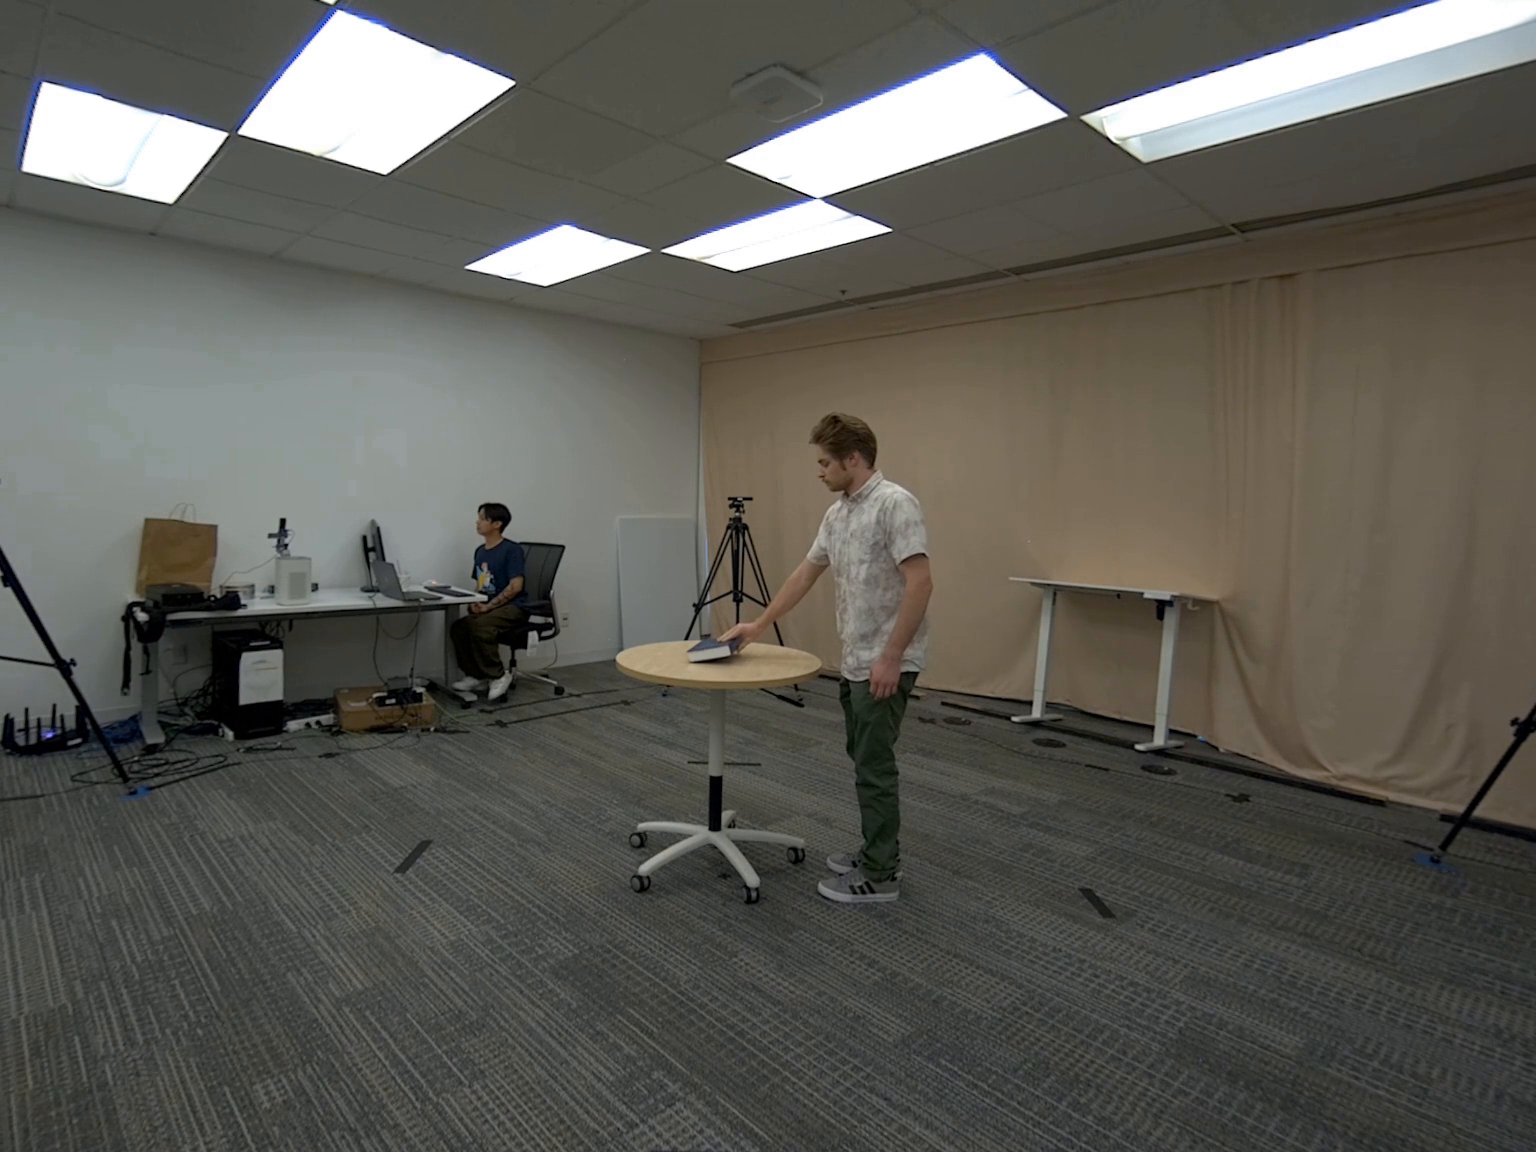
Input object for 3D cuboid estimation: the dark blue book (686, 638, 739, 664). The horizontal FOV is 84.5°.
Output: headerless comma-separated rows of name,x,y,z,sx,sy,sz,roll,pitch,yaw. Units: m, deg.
dark blue book,-0.199,0.263,3.135,0.164,0.045,0.244,-11,5,11
